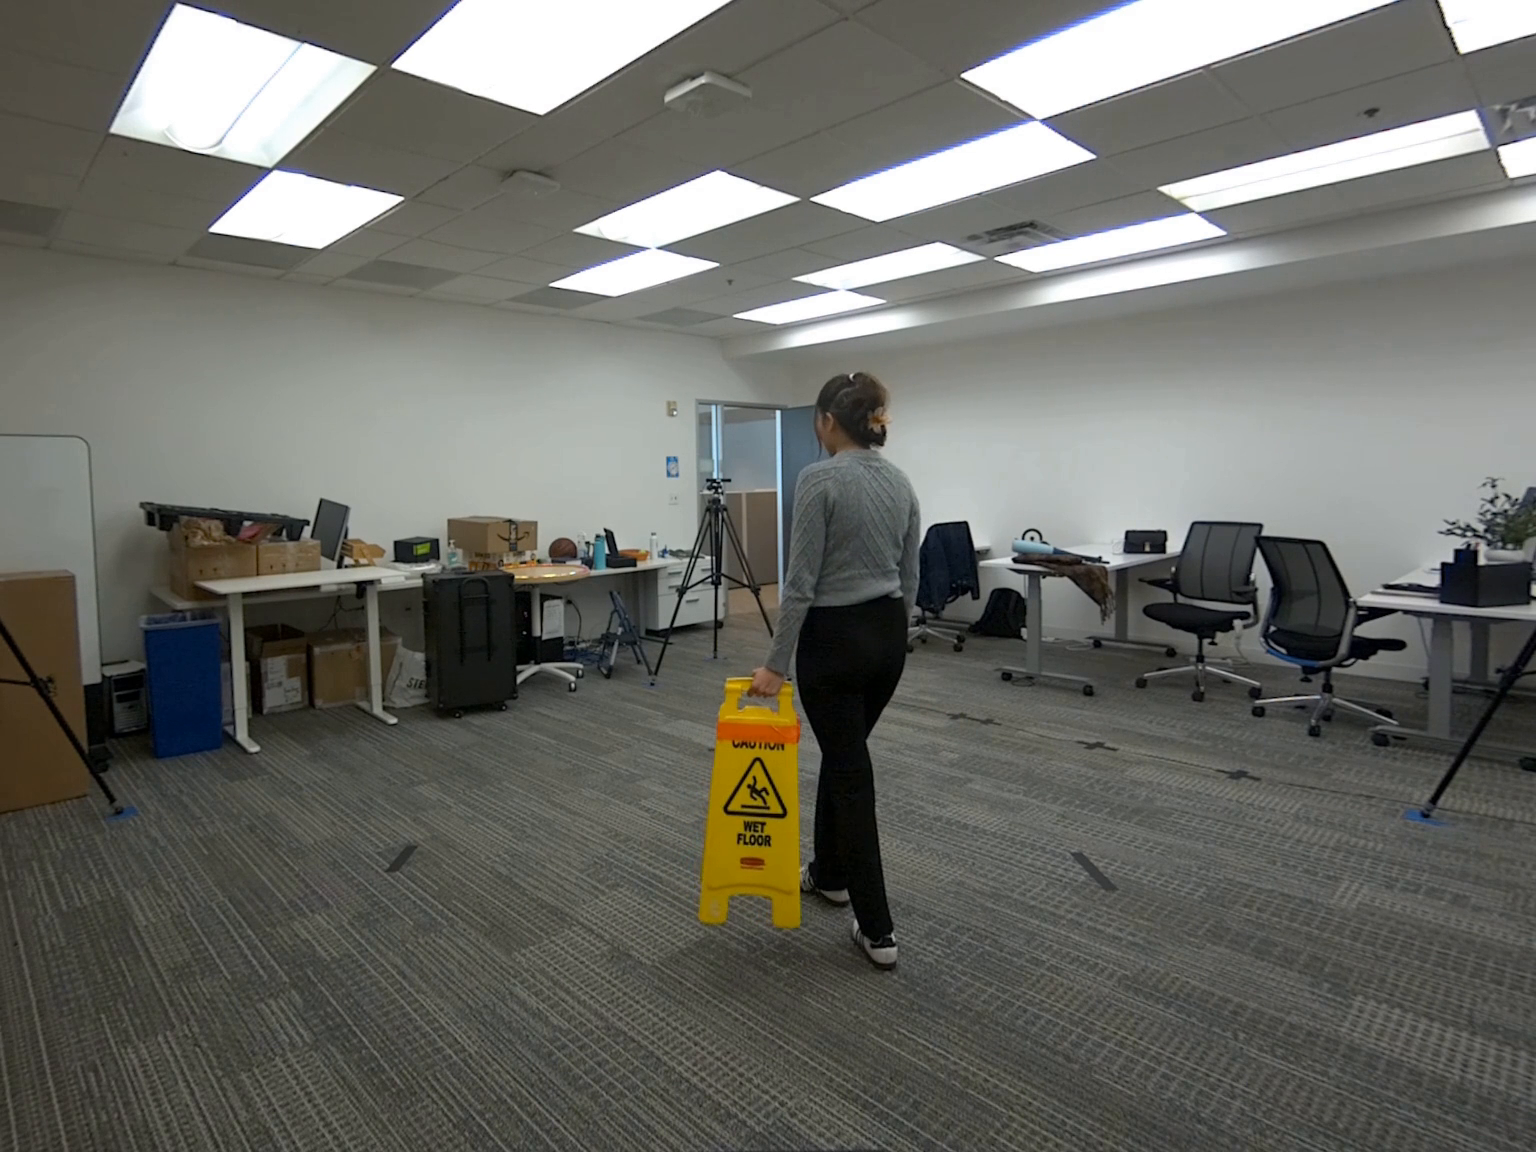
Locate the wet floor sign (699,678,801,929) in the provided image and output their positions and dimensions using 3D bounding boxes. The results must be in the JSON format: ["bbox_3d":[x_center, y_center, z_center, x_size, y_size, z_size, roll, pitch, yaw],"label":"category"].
[{"bbox_3d":[-0.047,0.627,2.474,0.282,0.647,0.289,2,-2,-1],"label":"wet floor sign"}]
